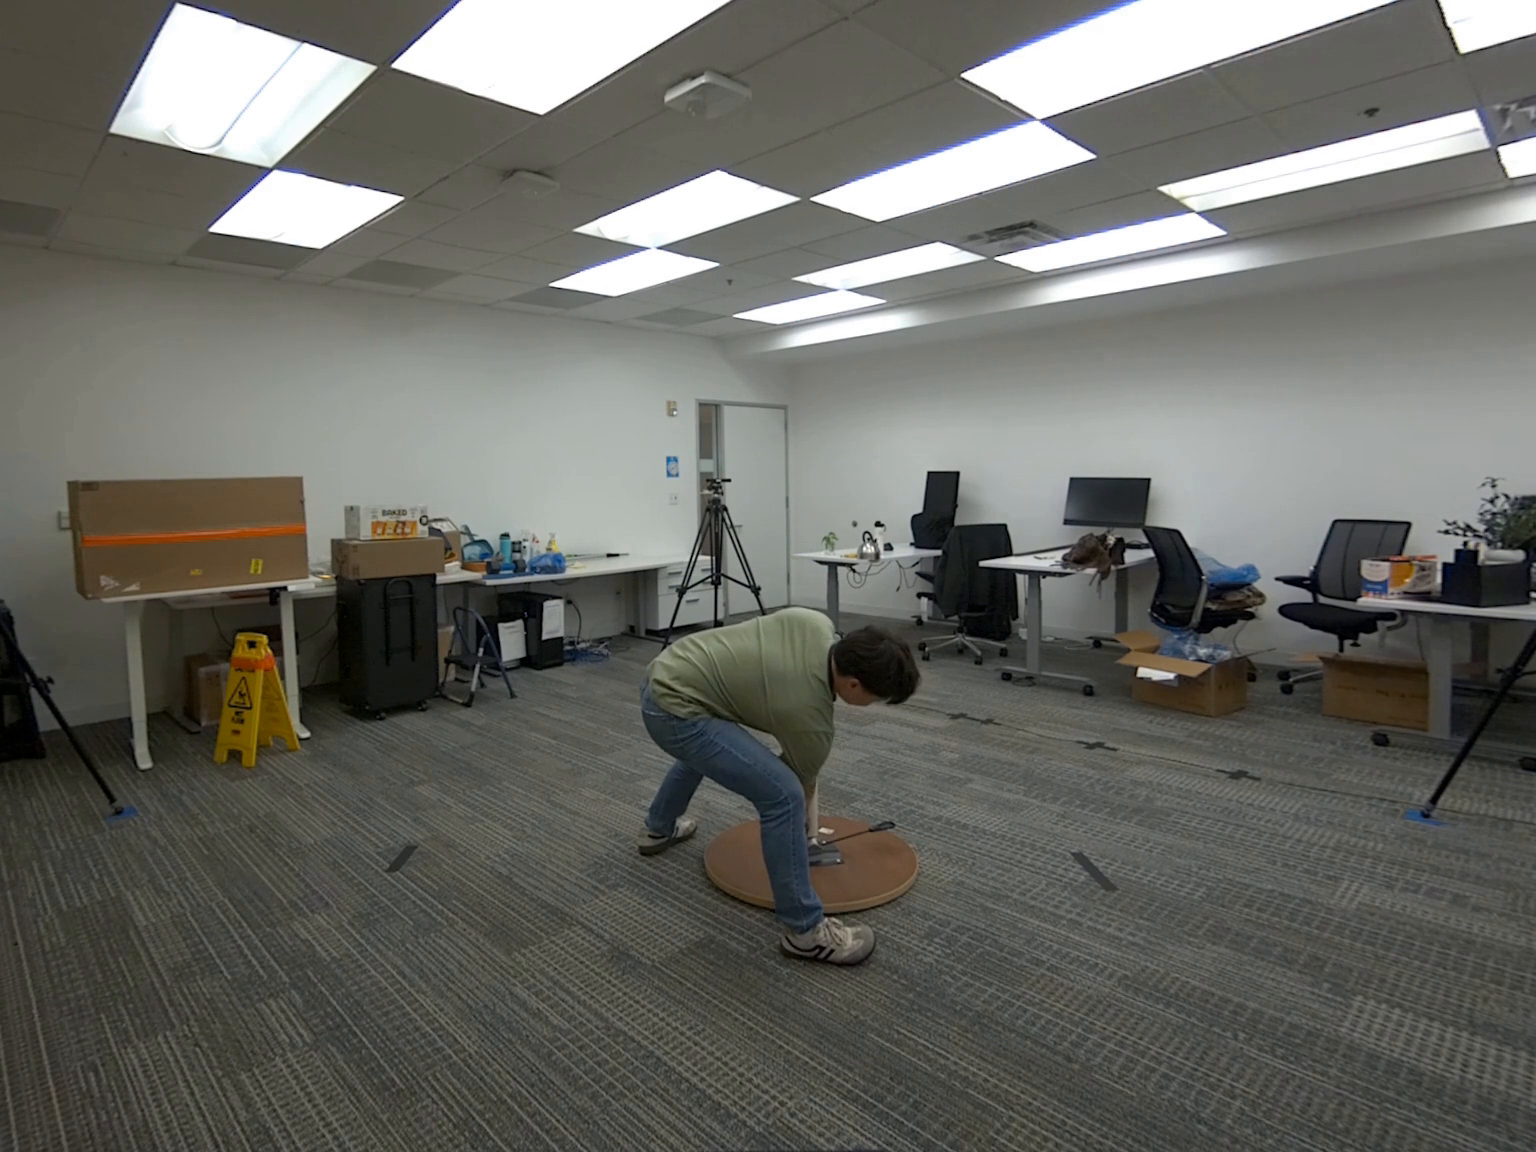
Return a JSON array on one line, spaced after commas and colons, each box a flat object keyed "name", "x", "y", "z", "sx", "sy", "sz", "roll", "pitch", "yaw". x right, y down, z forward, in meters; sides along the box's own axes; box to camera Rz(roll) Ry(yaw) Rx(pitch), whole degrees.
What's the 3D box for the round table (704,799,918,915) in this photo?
[{"name": "round table", "x": 0.151, "y": 0.645, "z": 3.085, "sx": 0.763, "sy": 0.792, "sz": 0.767, "roll": -2, "pitch": 3, "yaw": -2}]
